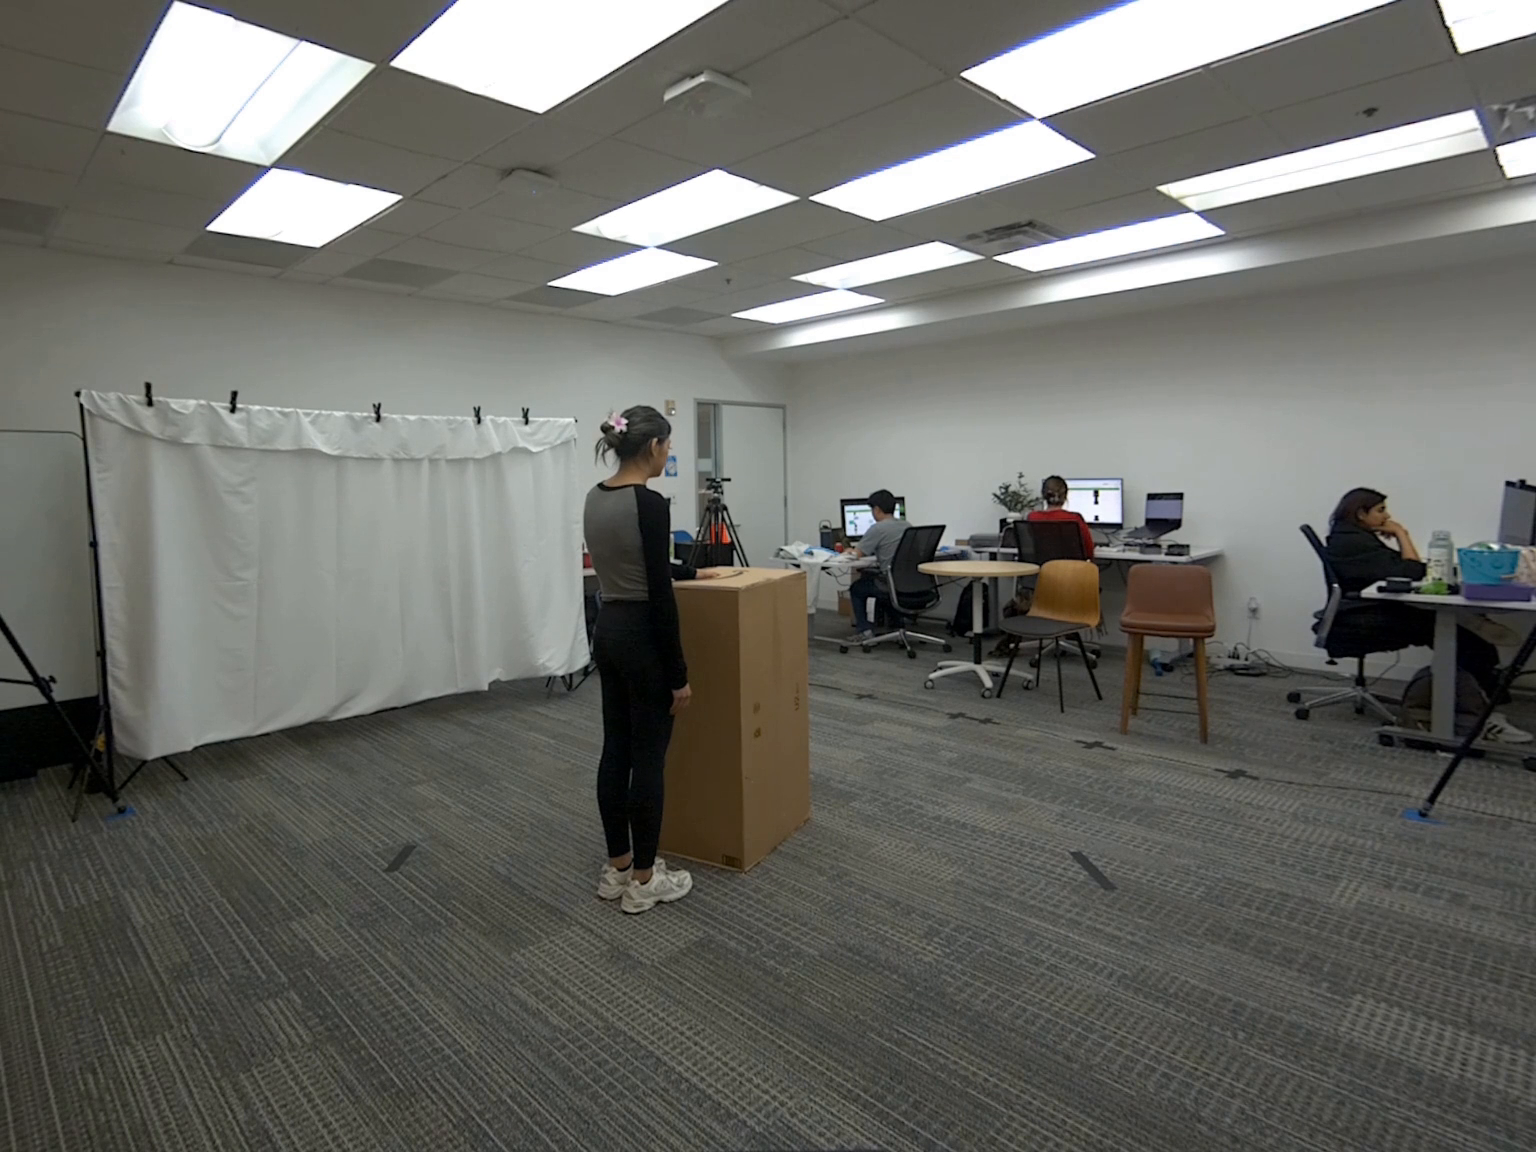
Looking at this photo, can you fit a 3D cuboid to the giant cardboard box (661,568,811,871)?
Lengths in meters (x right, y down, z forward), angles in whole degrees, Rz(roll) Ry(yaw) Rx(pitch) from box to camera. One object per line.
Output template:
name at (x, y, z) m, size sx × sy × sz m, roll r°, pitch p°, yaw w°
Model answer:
giant cardboard box at (-0.149, 0.512, 3.342) m, size 0.458 × 1.023 × 0.572 m, roll 2°, pitch 5°, yaw 27°
